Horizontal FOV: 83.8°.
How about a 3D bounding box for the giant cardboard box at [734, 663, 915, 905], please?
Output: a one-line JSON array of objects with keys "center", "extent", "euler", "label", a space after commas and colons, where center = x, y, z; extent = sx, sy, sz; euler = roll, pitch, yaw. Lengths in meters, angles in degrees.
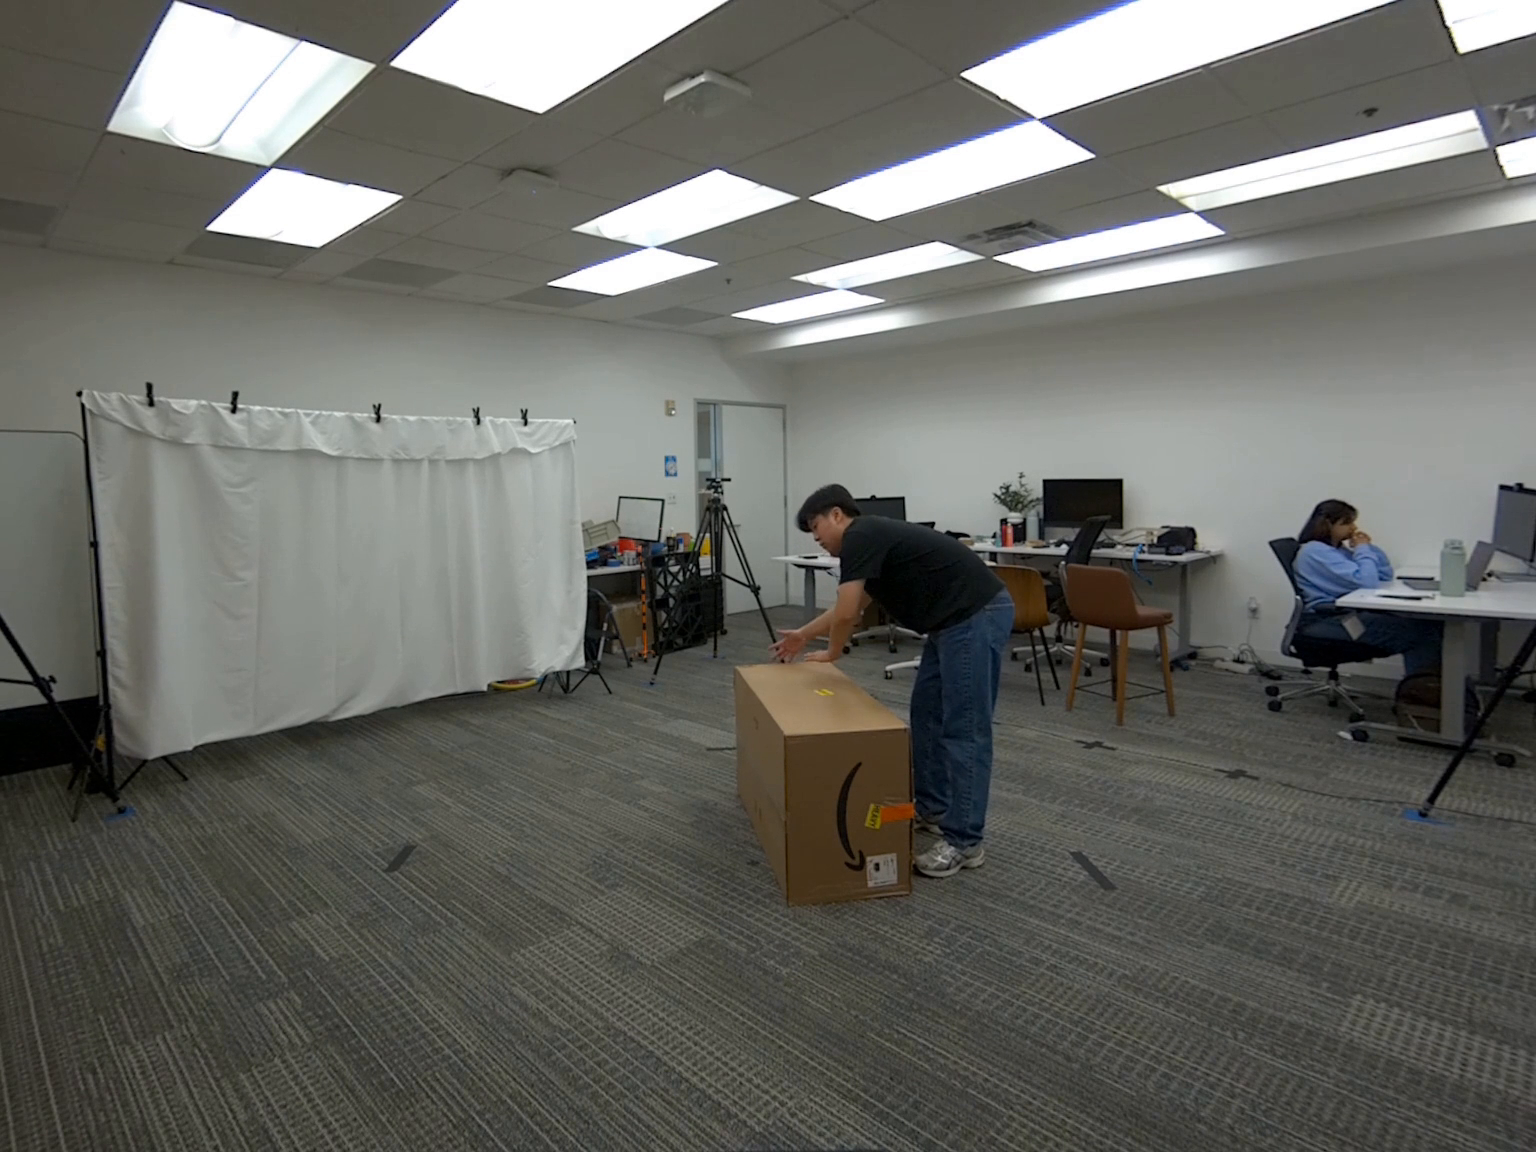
[{"center": [0.170, 0.728, 3.295], "extent": [0.442, 0.581, 1.042], "euler": [-1, 6, -11], "label": "giant cardboard box"}]
